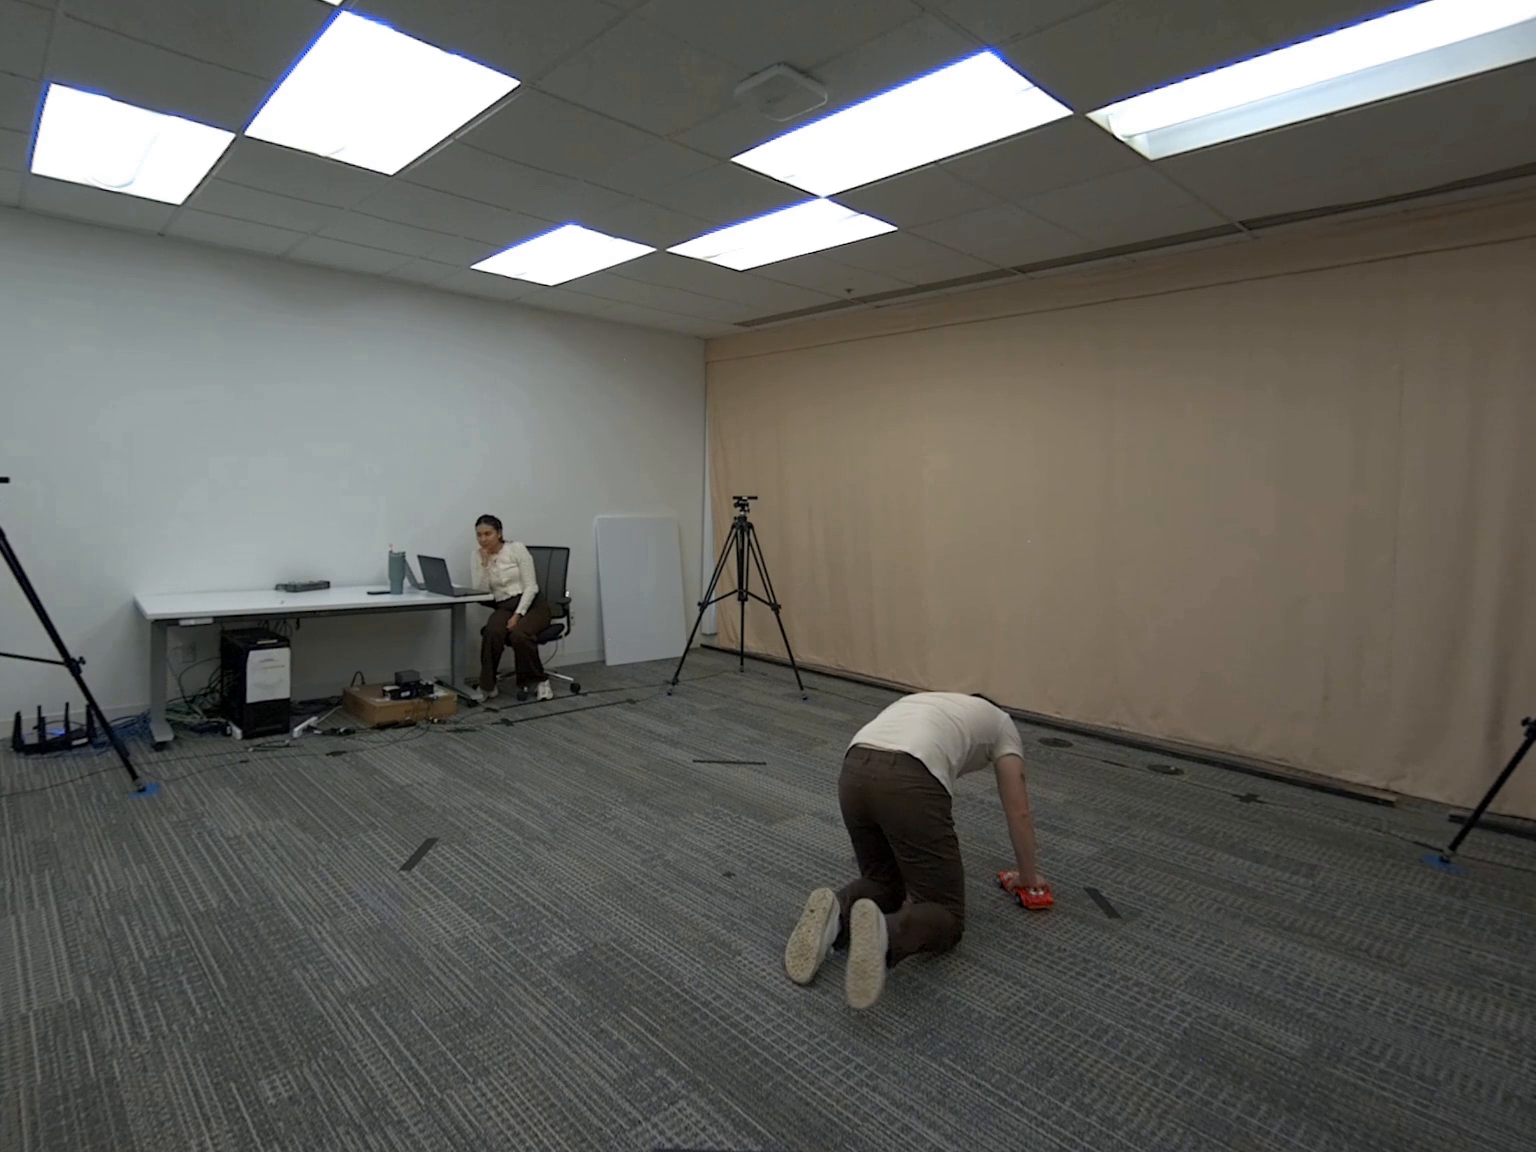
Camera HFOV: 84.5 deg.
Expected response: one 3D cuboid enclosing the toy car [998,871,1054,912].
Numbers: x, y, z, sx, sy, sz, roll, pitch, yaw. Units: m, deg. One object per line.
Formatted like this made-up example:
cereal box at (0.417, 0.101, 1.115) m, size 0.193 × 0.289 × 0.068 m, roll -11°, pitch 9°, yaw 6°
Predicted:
toy car at (0.908, 1.115, 2.979) m, size 0.129 × 0.083 × 0.256 m, roll 0°, pitch -4°, yaw -12°
